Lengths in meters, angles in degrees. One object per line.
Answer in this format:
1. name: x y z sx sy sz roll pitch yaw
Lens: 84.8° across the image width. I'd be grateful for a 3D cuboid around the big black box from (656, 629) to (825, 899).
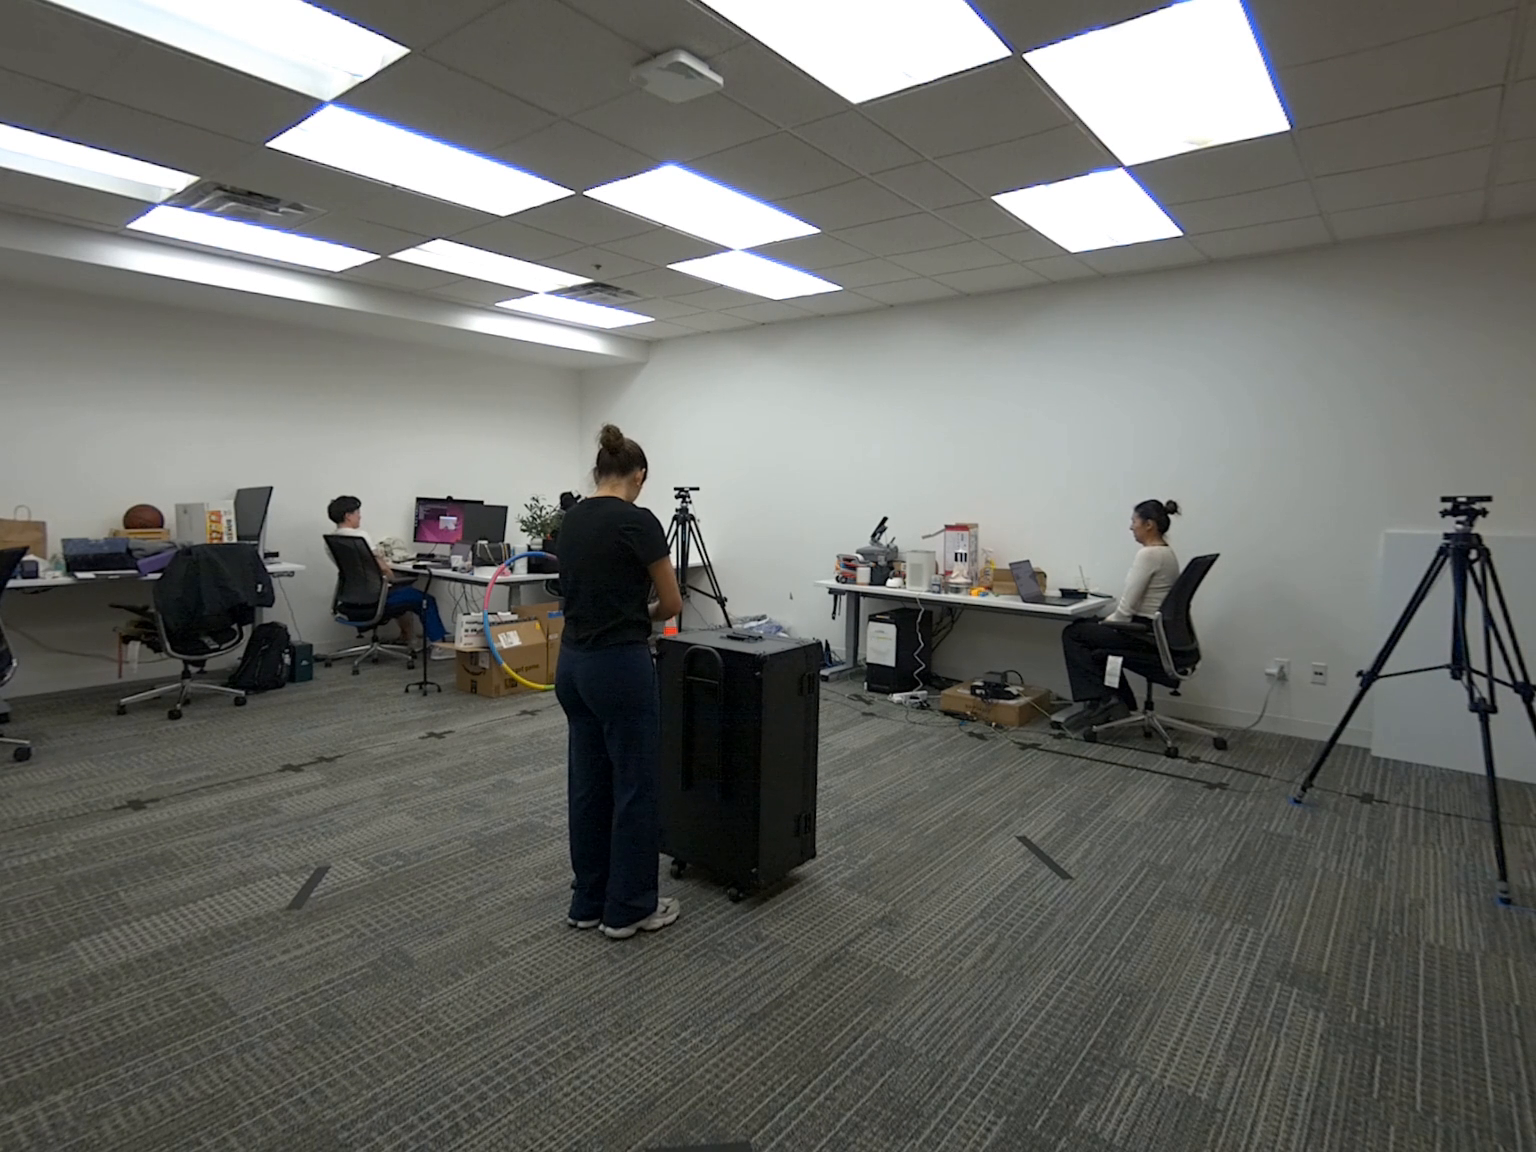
1. big black box: -0.107 0.587 3.062 0.539 0.859 0.384 4 3 39
